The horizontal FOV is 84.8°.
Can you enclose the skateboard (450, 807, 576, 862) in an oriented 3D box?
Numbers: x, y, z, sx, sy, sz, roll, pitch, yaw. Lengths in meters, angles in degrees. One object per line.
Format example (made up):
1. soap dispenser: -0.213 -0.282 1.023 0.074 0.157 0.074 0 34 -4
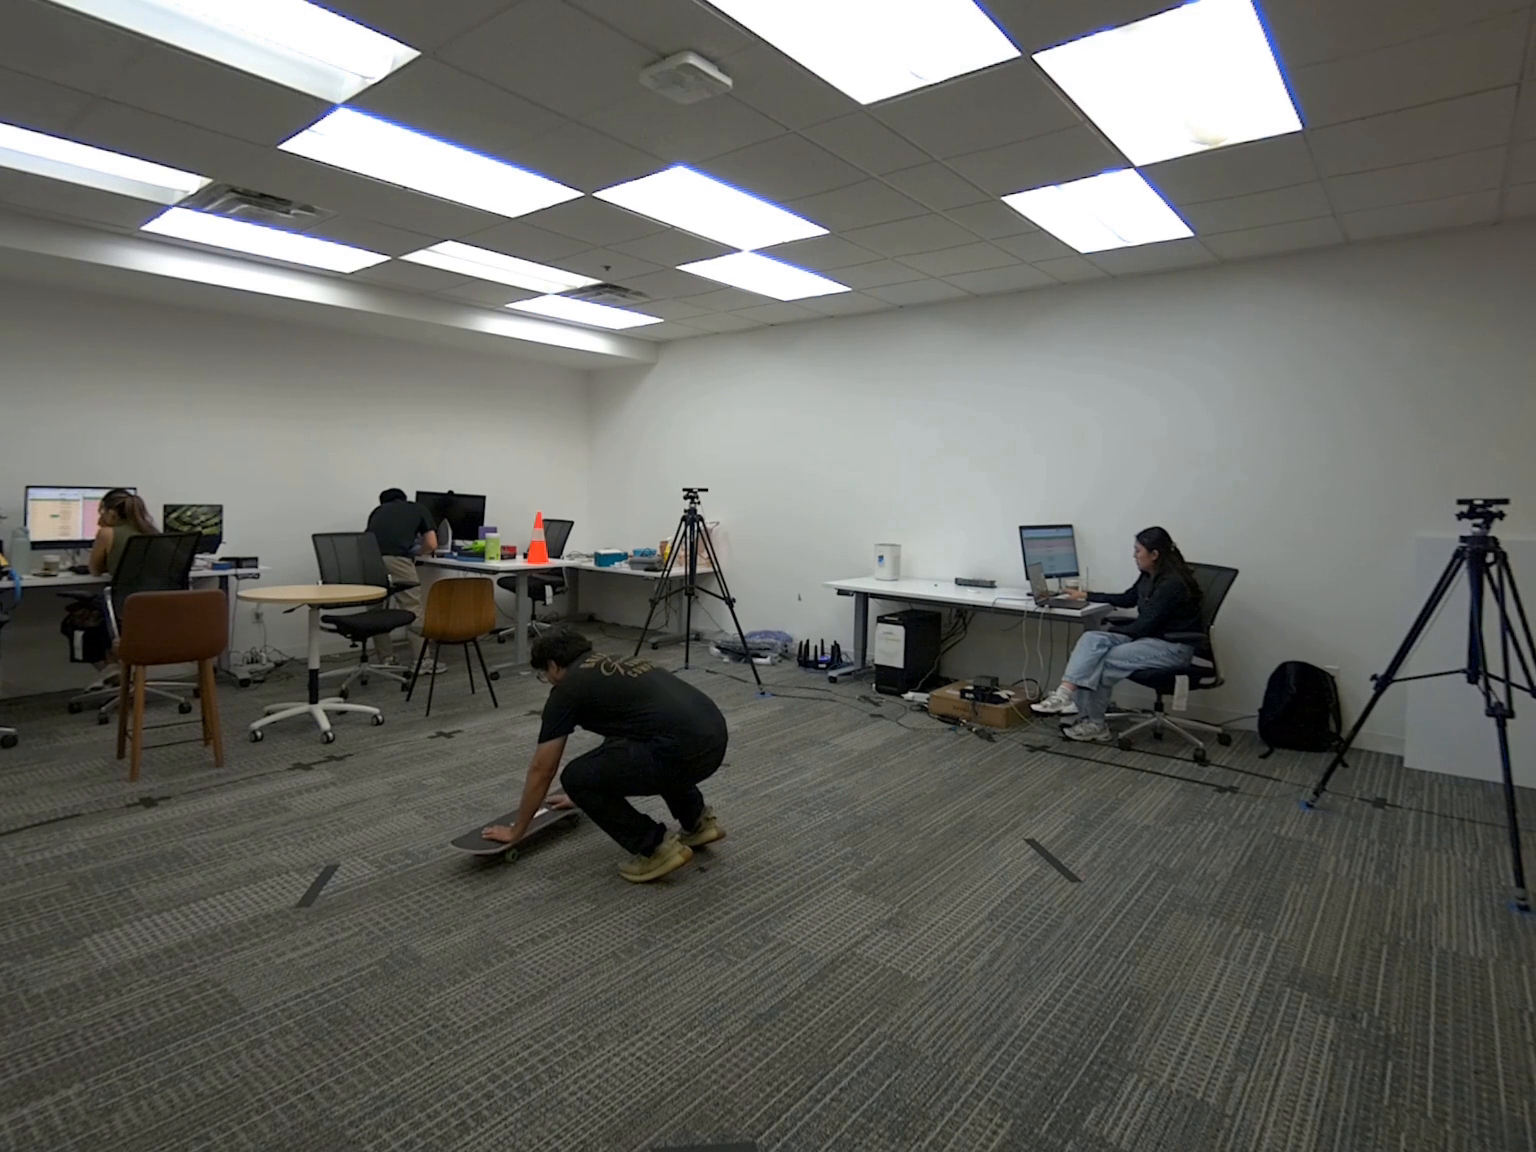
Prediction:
1. skateboard: -0.950 0.979 3.348 0.198 0.110 0.768 2 5 24
